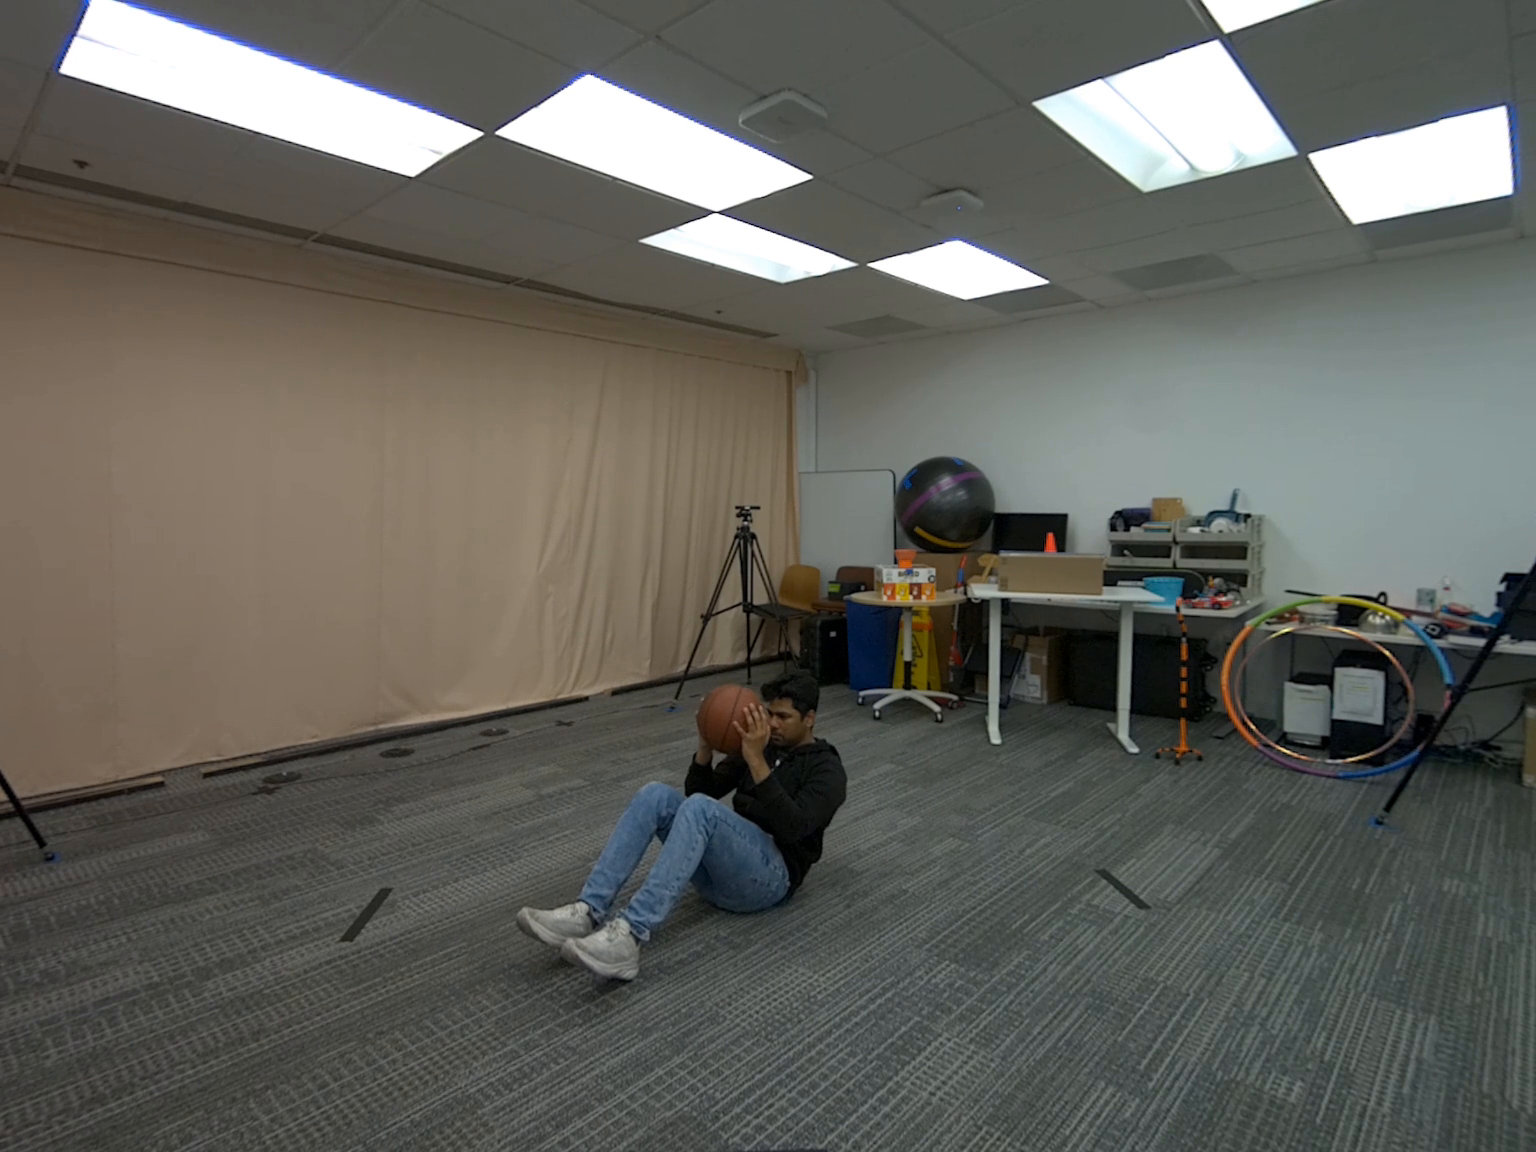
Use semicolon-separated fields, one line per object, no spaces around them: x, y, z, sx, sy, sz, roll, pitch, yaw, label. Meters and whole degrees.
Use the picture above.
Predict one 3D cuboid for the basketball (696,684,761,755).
-0.113;0.493;2.907;0.236;0.235;0.237;0;4;-2;basketball
